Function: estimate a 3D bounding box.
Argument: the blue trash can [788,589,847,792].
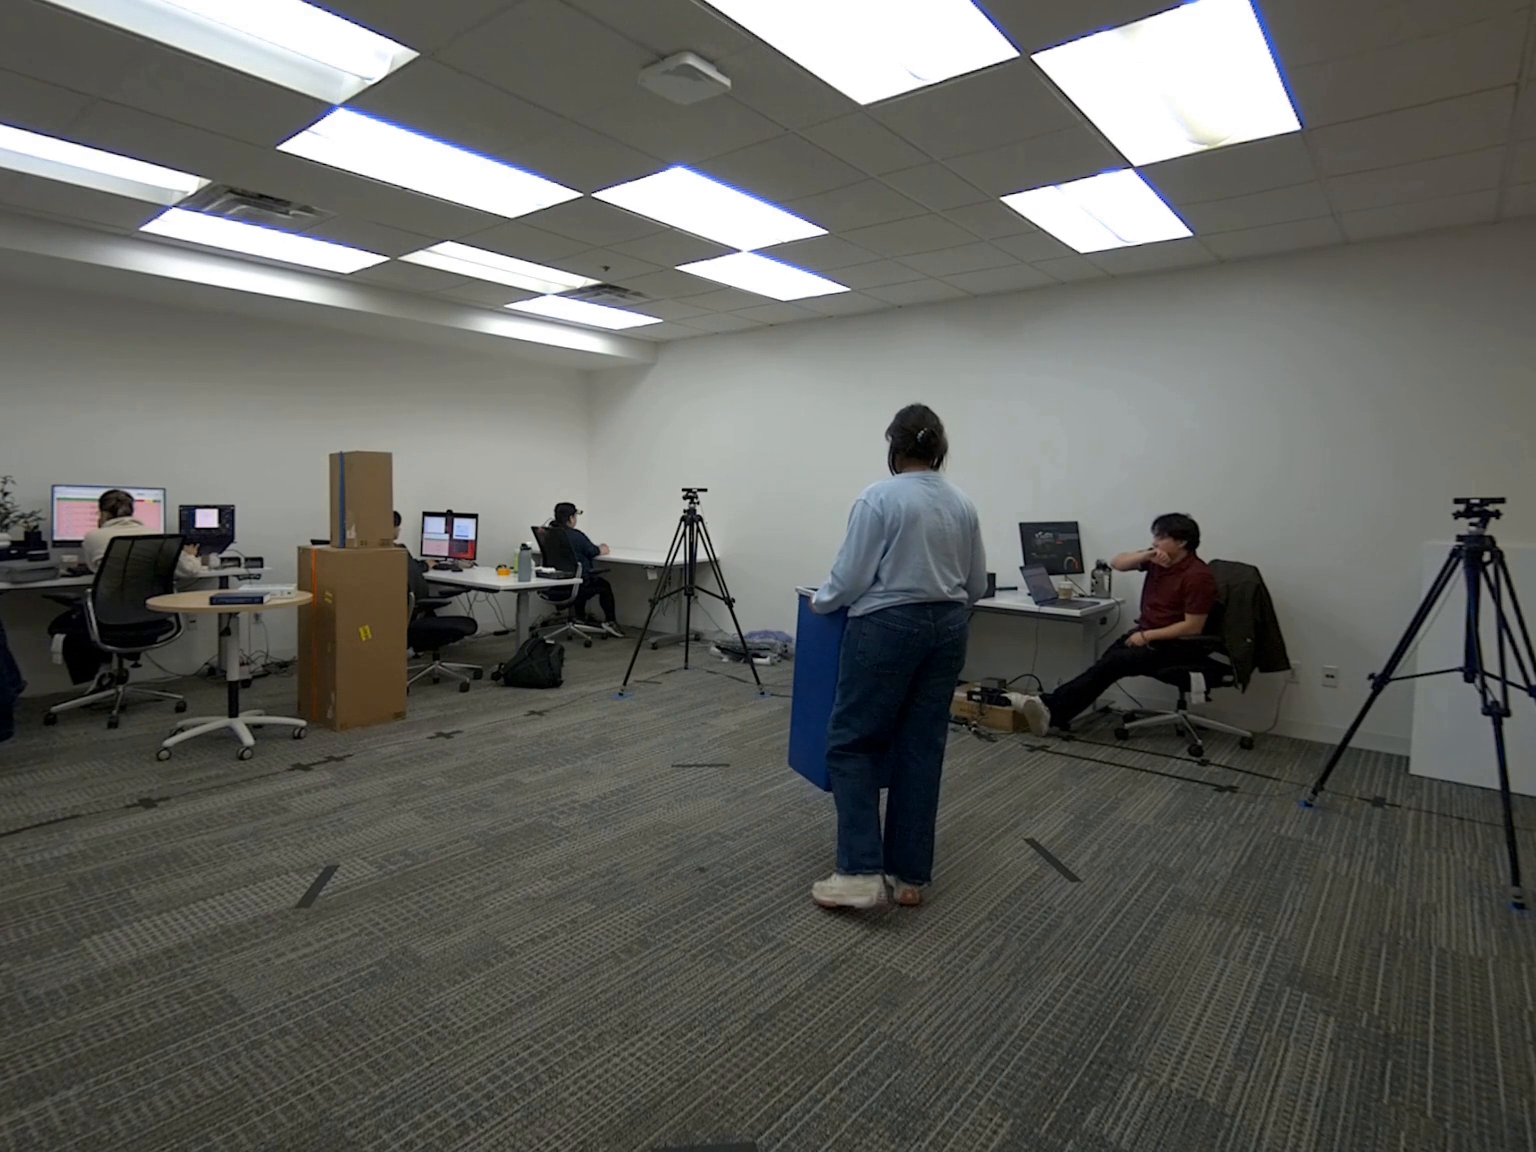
[{"bbox_3d":[0.299,0.425,3.289,0.368,0.712,0.385,5,3,-27],"label":"blue trash can"}]
